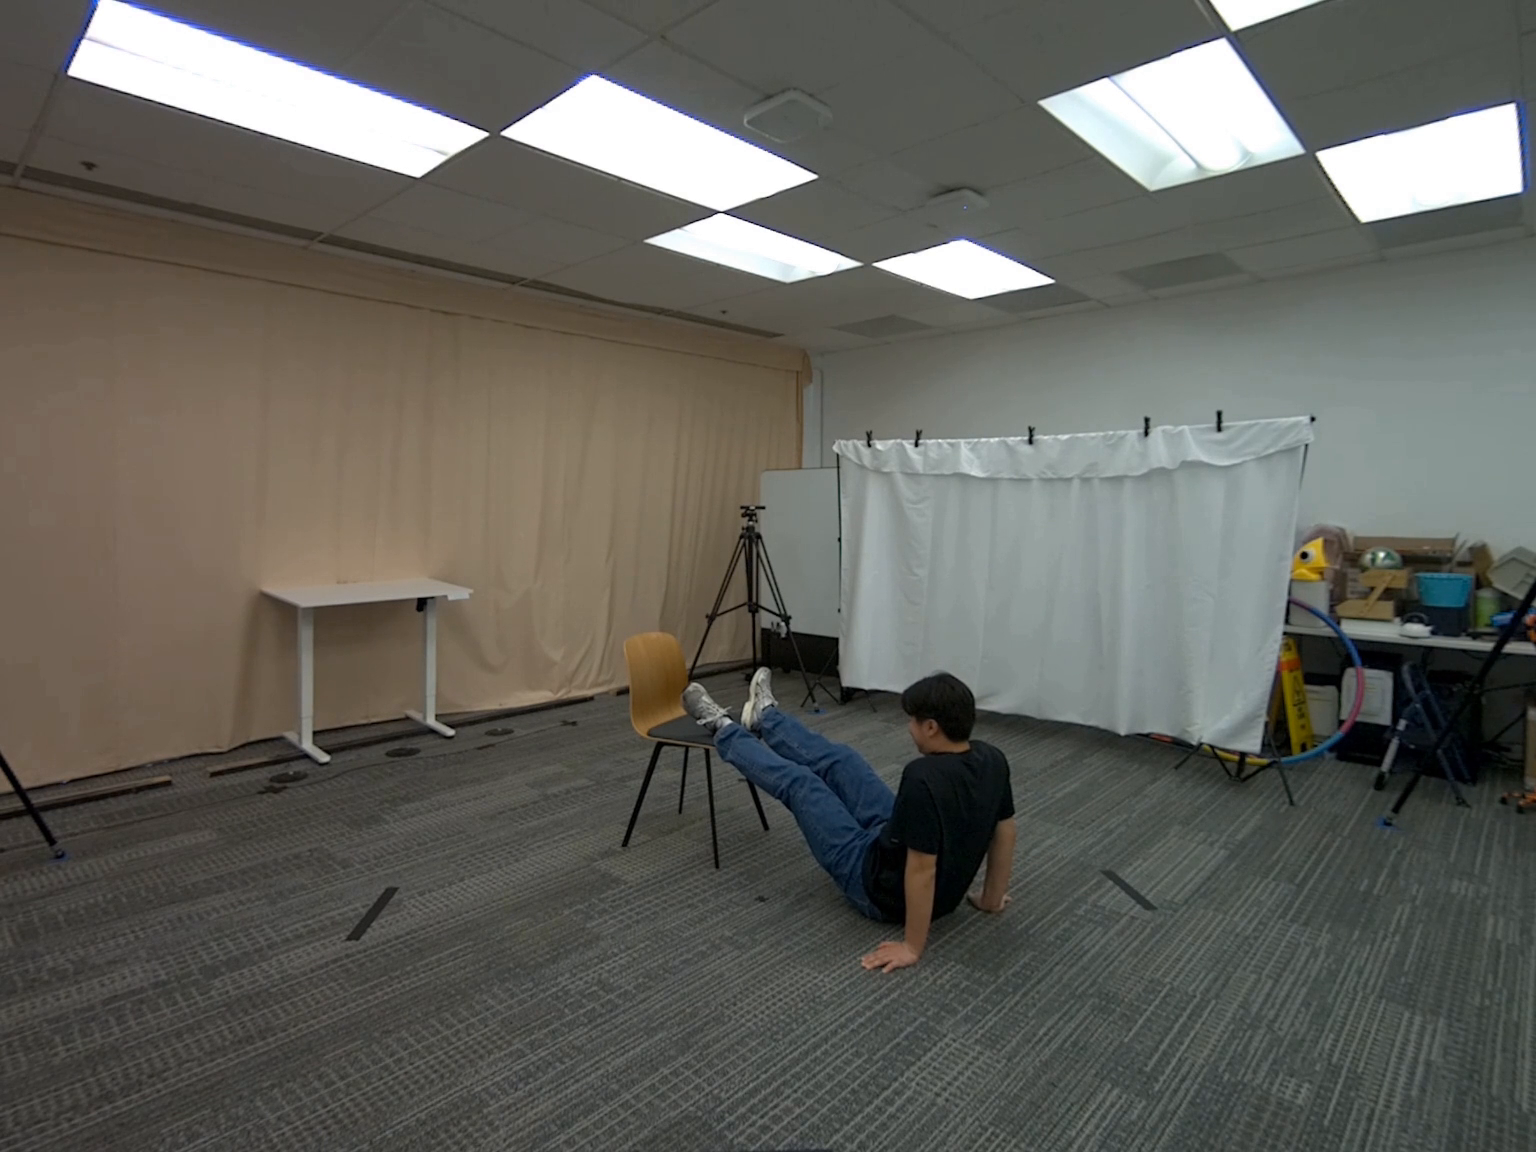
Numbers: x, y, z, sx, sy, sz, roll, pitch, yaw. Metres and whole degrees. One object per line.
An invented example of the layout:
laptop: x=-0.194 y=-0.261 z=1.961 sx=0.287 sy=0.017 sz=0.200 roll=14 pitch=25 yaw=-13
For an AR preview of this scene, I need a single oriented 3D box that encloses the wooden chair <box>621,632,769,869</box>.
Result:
wooden chair: x=-0.295 y=0.675 z=3.499 sx=0.537 sy=0.877 sz=0.466 roll=-3 pitch=1 yaw=28
